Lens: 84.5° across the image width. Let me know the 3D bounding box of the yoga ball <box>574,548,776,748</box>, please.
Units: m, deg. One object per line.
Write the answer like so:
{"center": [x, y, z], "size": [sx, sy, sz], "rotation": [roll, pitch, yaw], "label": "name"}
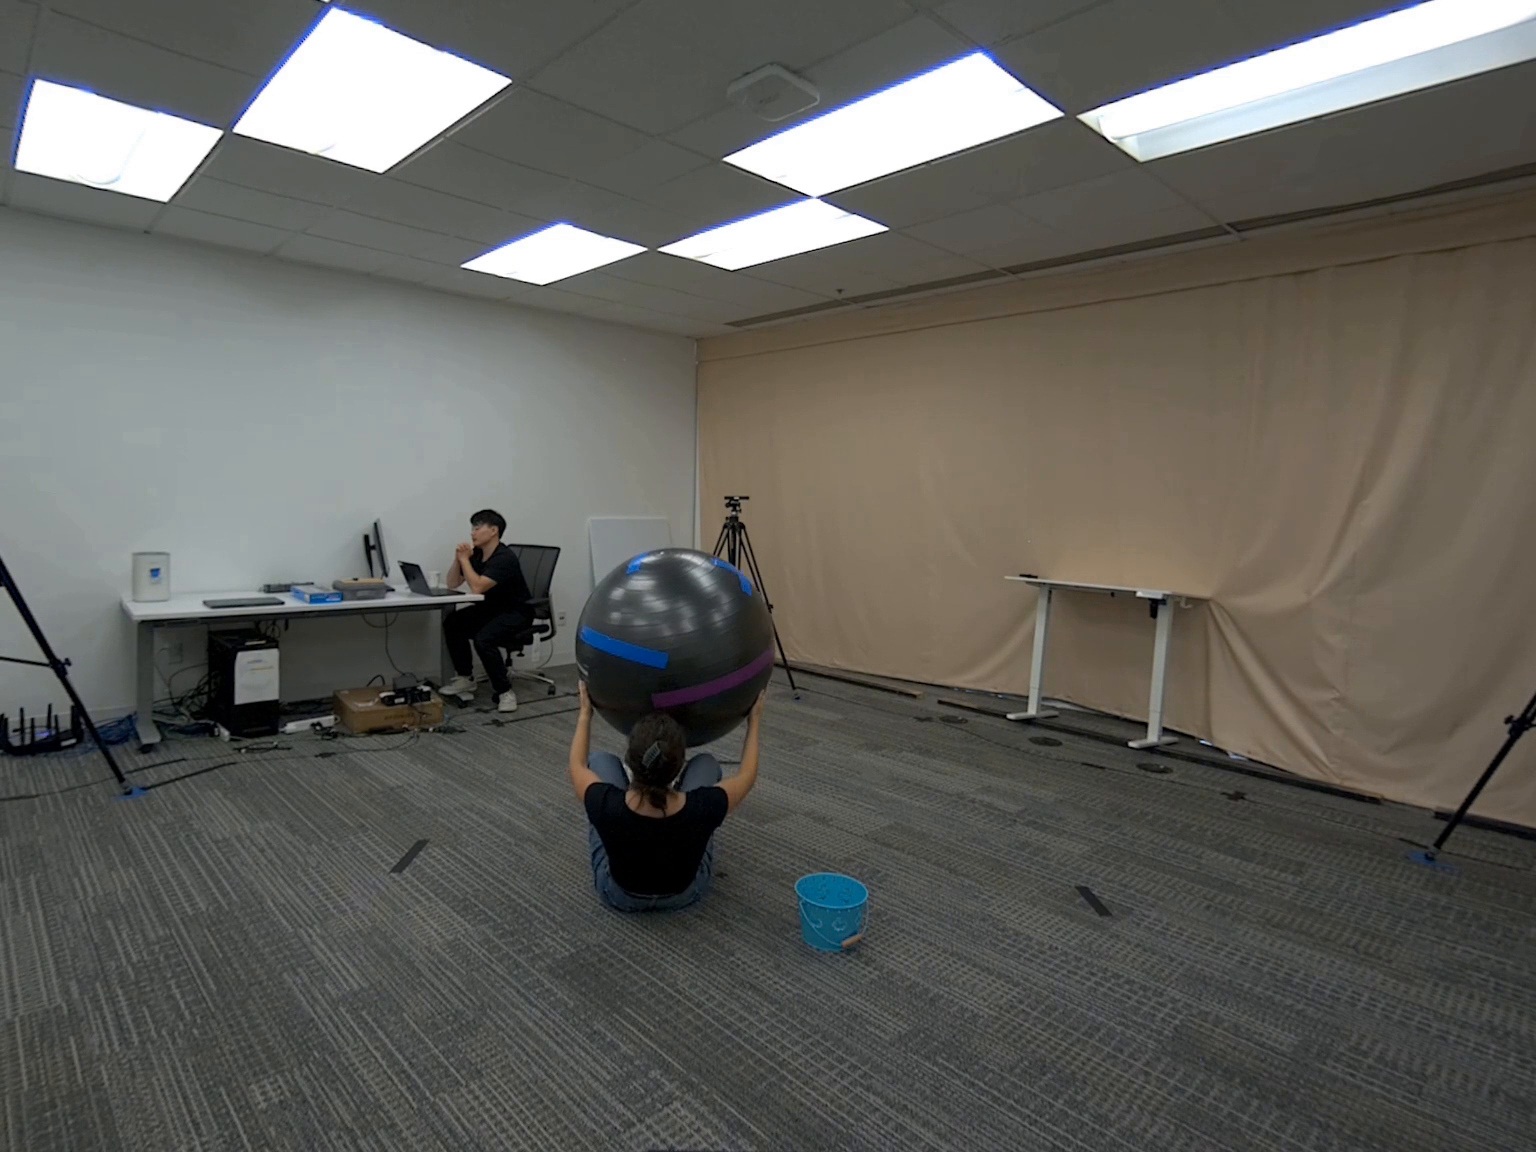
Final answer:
{"center": [-0.365, 0.279, 3.210], "size": [0.757, 0.756, 0.761], "rotation": [1, 4, -1], "label": "yoga ball"}
